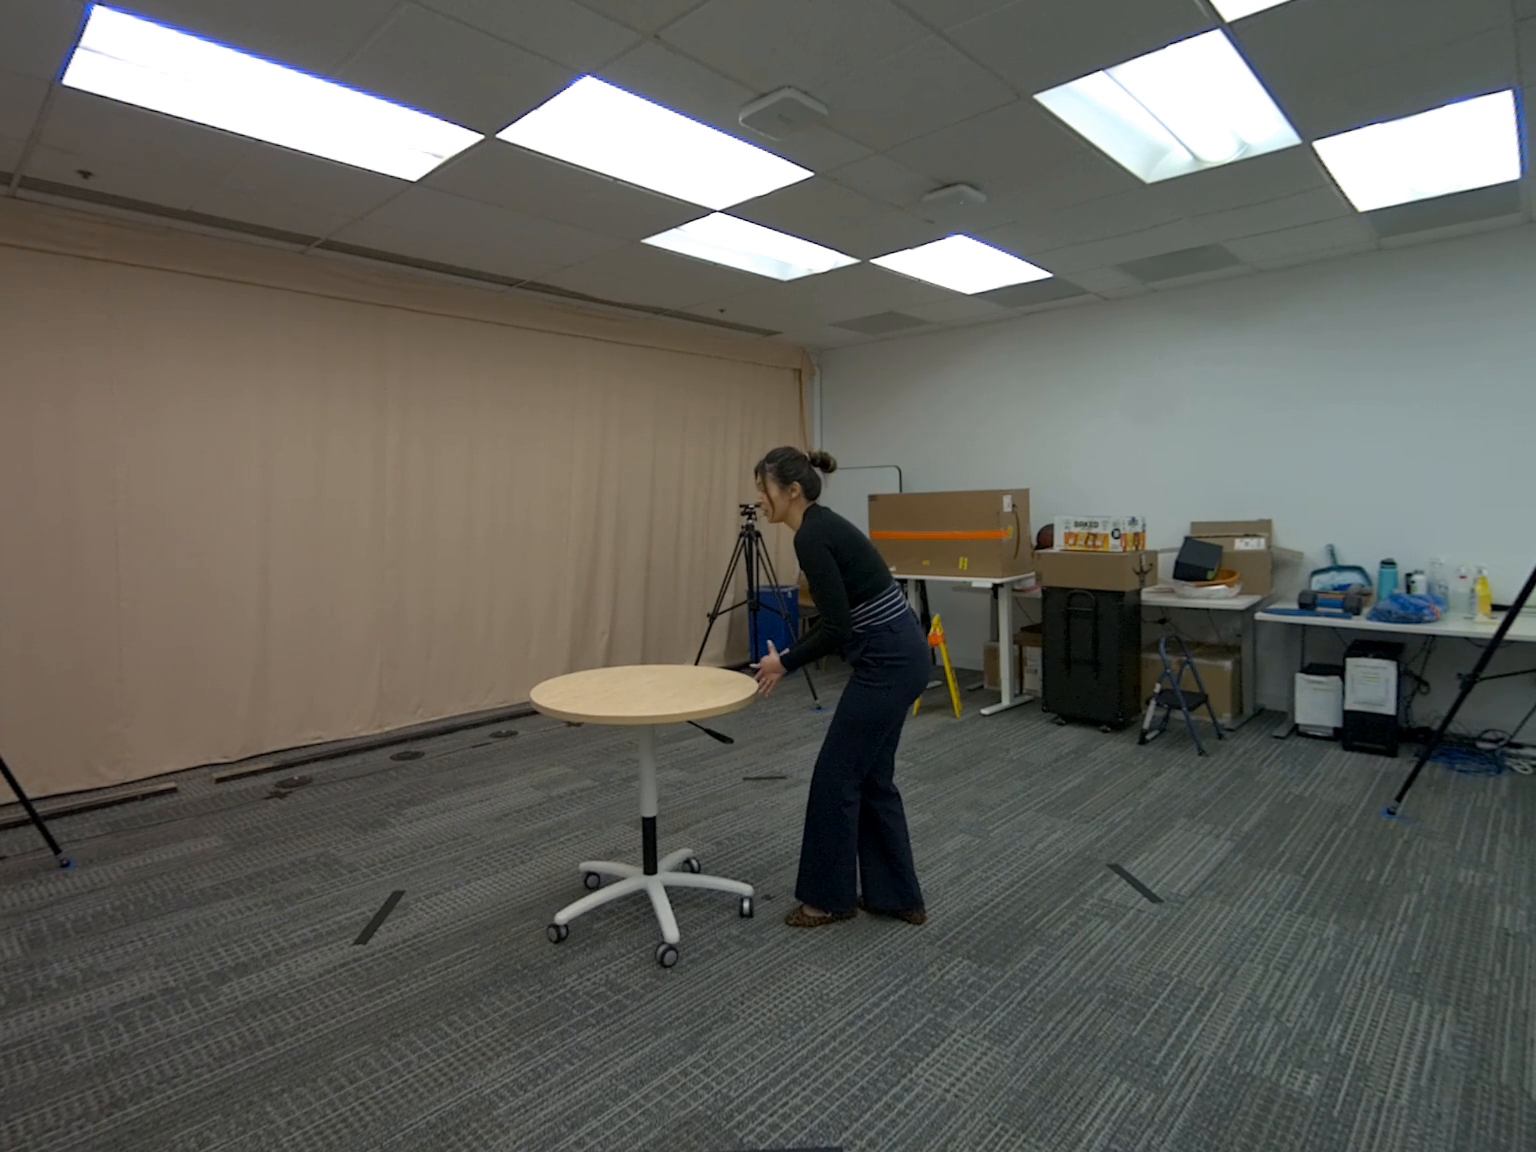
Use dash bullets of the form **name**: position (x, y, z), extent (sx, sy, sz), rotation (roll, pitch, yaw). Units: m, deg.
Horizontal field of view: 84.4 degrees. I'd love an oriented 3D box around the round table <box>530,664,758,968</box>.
- **round table**: position (-0.404, 0.772, 2.860), extent (0.763, 0.792, 0.767), rotation (-1, 4, -2)
